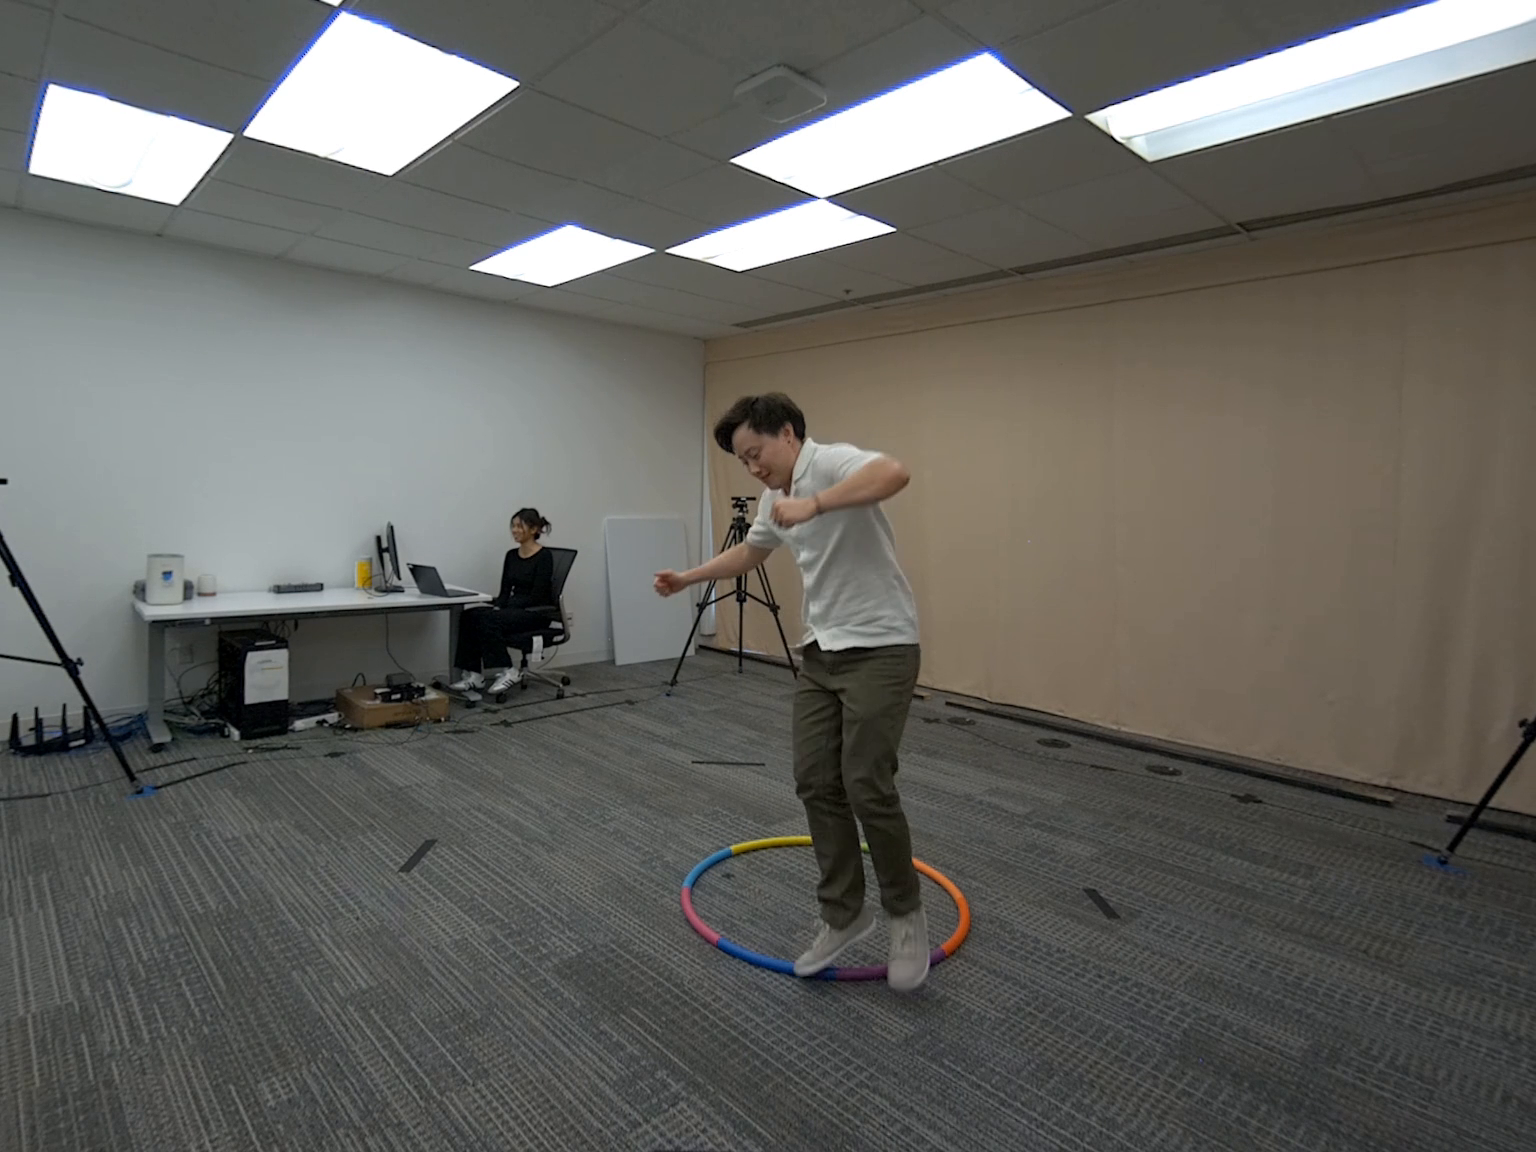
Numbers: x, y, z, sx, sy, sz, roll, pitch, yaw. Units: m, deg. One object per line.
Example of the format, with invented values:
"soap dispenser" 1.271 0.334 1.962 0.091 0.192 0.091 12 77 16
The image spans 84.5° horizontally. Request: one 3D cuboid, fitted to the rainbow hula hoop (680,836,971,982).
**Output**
"rainbow hula hoop" 0.182 1.102 2.924 0.978 0.035 0.982 1 5 -1
